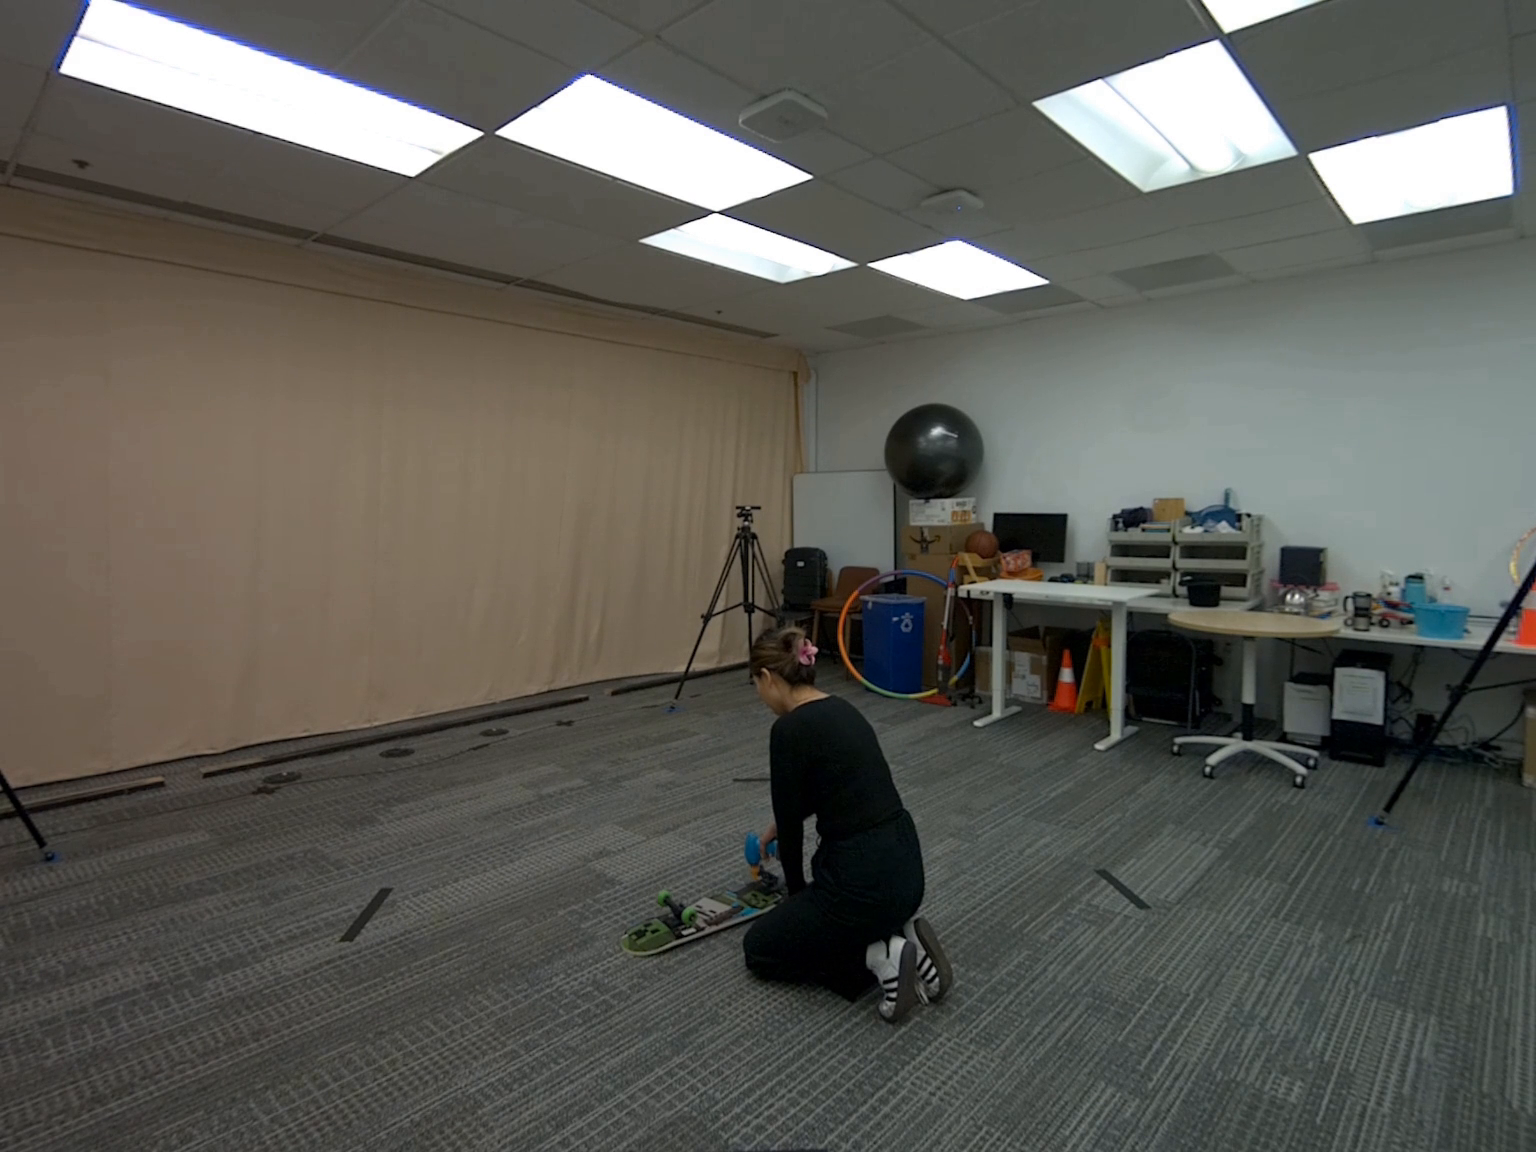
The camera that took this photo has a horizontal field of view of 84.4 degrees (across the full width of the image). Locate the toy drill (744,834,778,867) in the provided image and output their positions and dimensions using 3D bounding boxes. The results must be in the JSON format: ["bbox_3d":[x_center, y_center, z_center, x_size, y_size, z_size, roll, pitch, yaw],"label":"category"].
[{"bbox_3d":[-0.008,0.994,2.946,0.150,0.170,0.059,-3,-2,29],"label":"toy drill"}]
